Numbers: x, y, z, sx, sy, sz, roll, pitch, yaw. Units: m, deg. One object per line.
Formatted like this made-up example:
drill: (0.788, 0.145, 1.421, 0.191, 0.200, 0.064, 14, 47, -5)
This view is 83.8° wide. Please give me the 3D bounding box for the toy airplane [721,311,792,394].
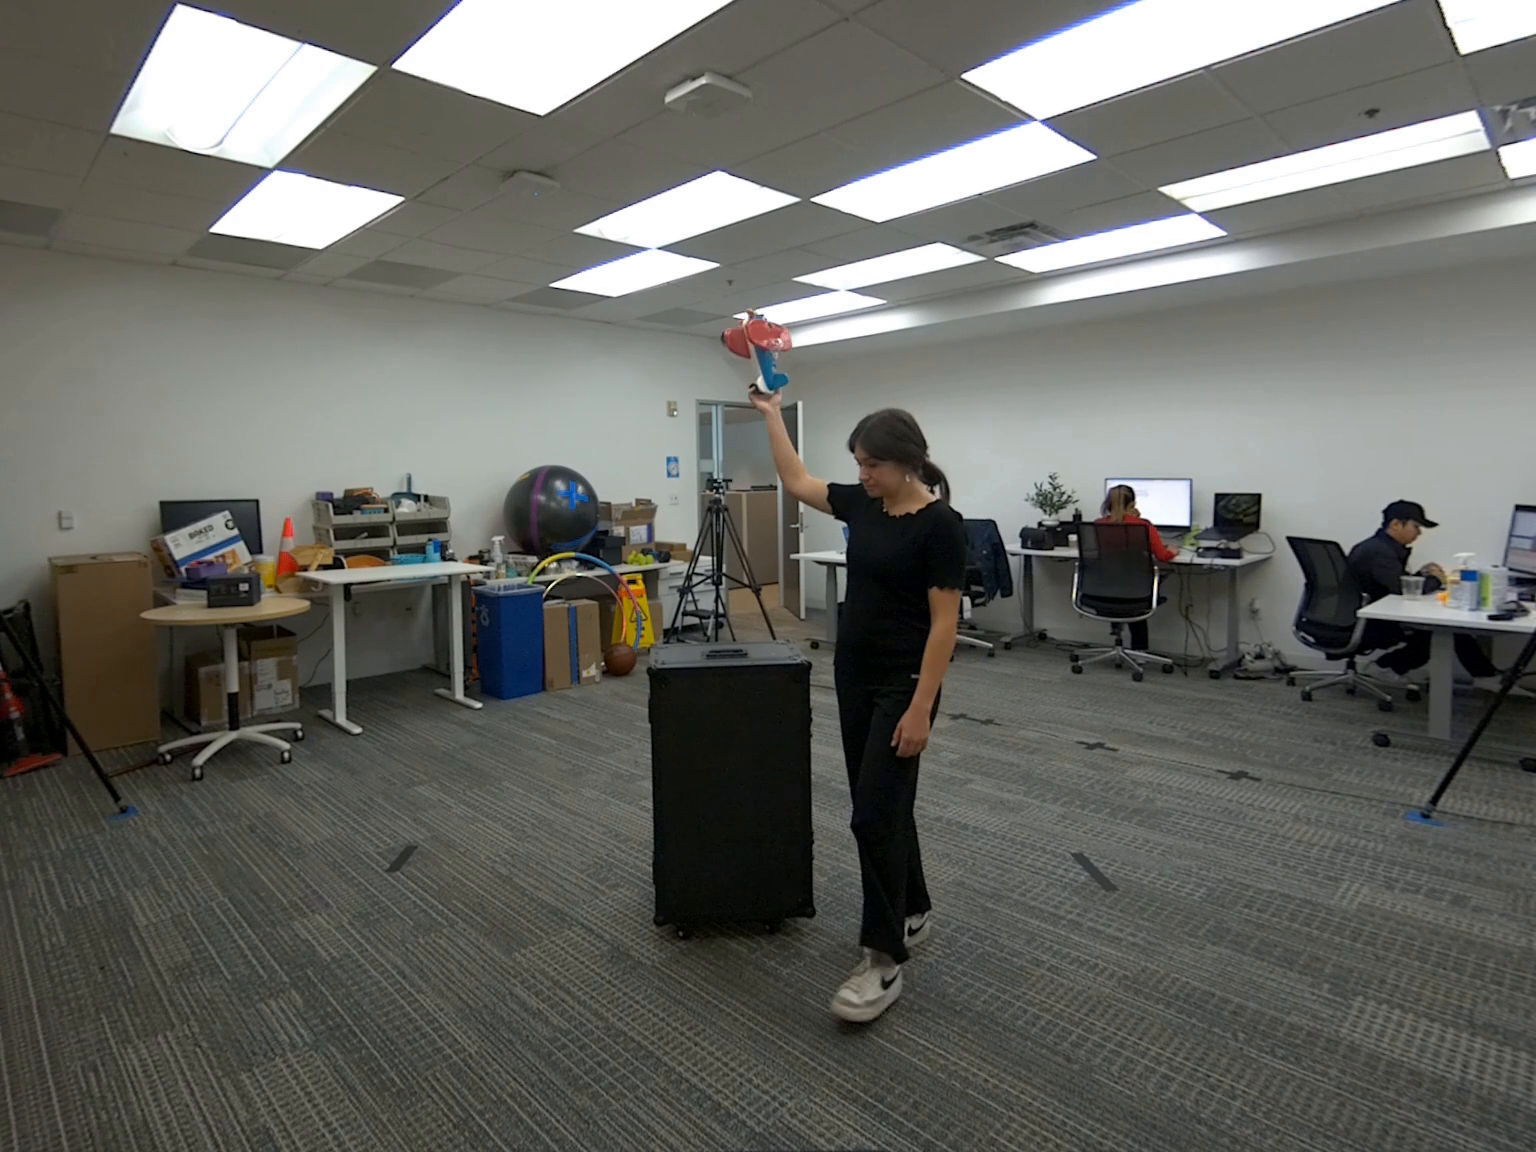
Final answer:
toy airplane: (-0.022, -0.702, 2.707, 0.158, 0.255, 0.253, -31, 17, 32)
